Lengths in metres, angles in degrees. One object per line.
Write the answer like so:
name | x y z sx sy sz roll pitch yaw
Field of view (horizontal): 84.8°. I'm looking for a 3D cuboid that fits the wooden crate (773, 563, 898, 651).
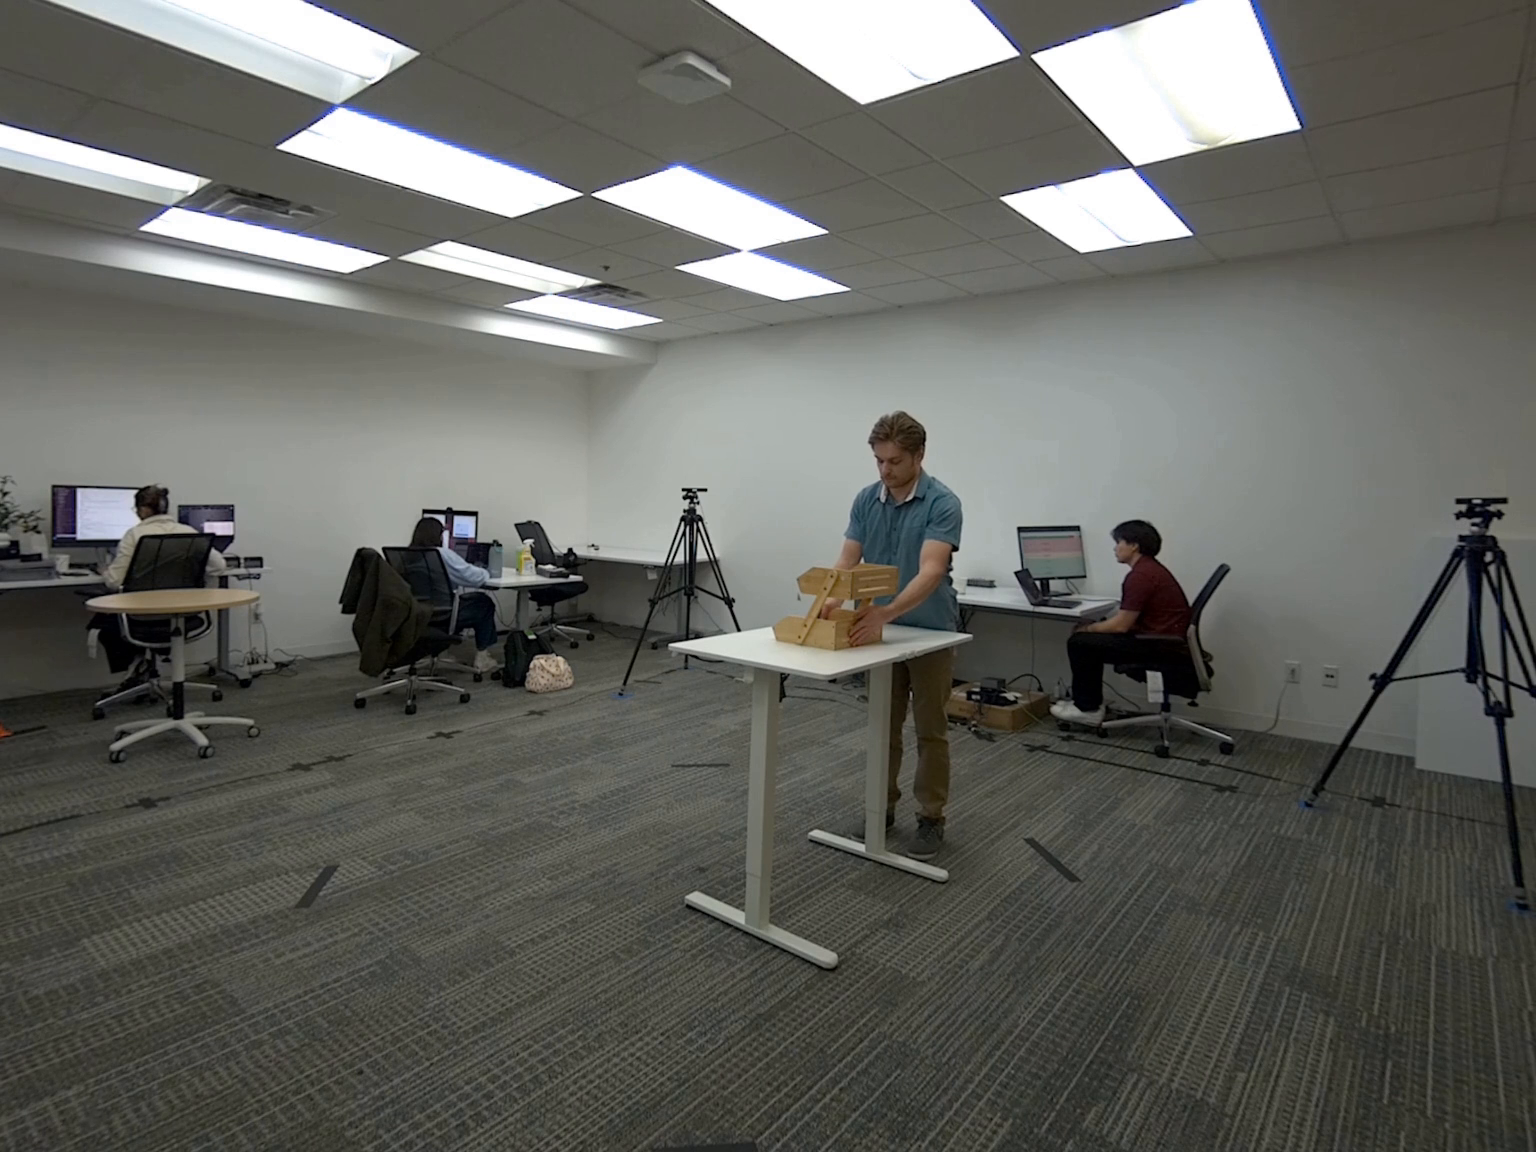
wooden crate | 0.217 0.086 2.871 0.312 0.272 0.315 5 6 37
